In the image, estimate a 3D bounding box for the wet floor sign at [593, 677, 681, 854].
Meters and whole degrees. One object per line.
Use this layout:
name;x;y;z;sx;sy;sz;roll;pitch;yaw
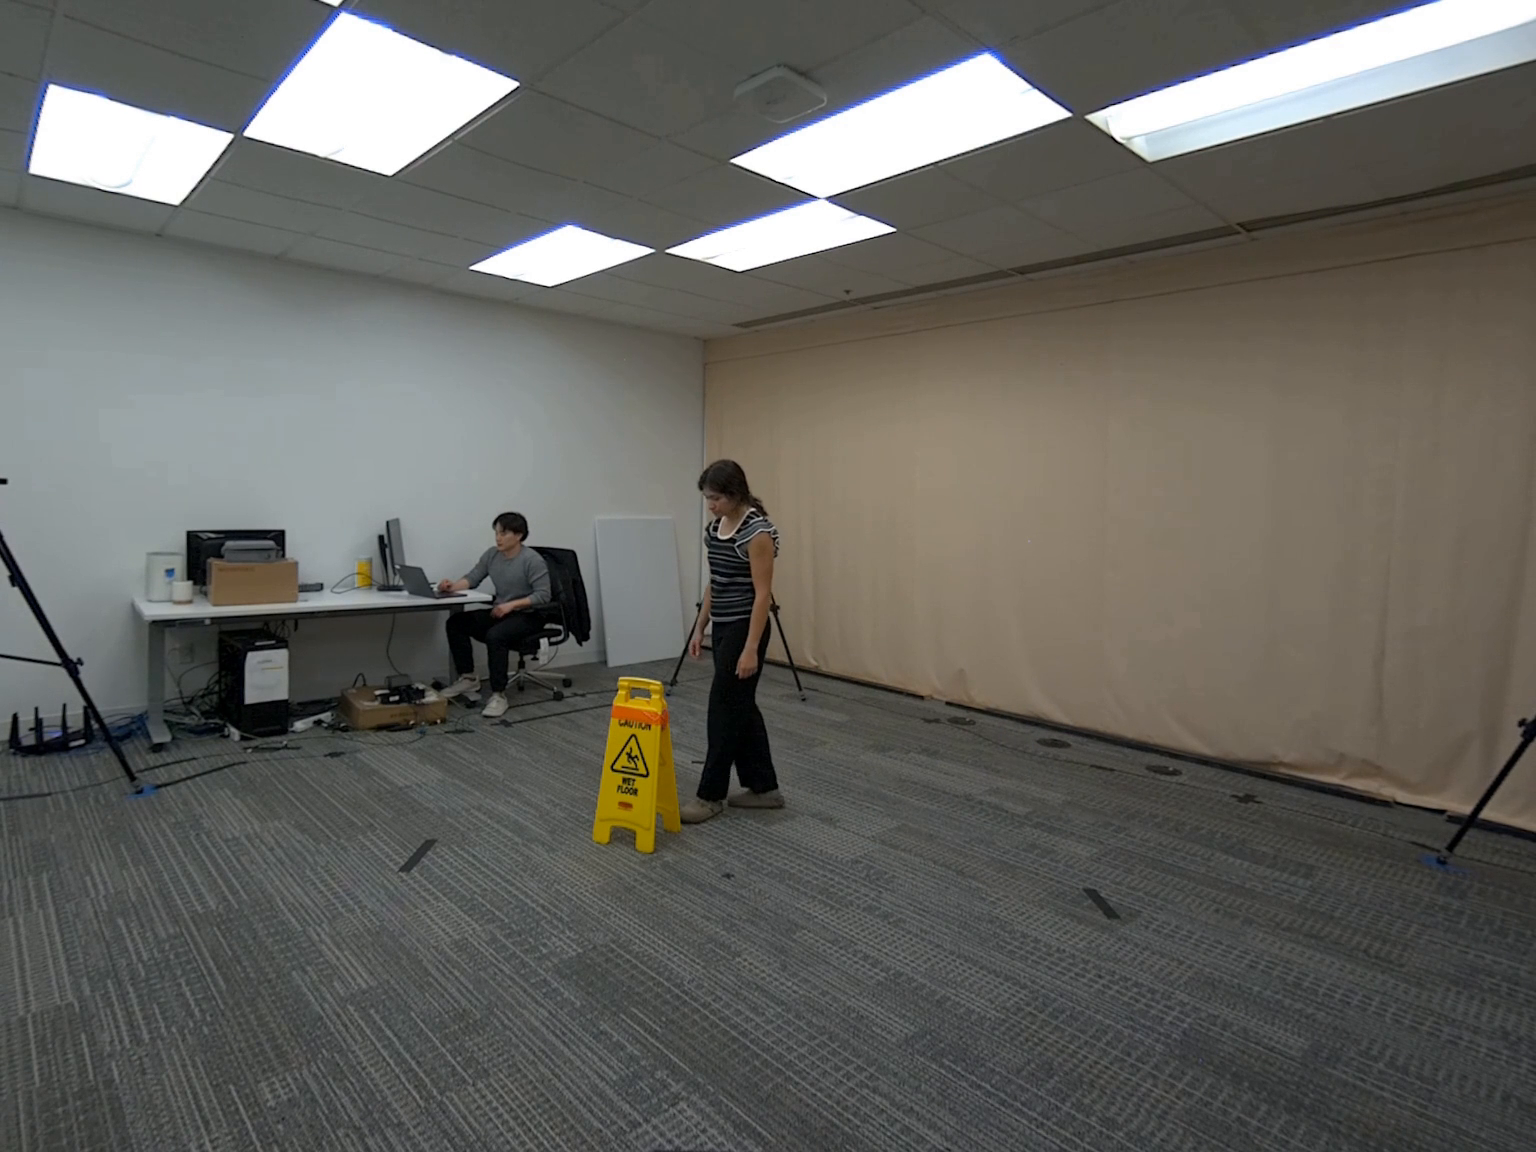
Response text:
wet floor sign;-0.537;0.745;3.442;0.287;0.645;0.285;4;3;21
